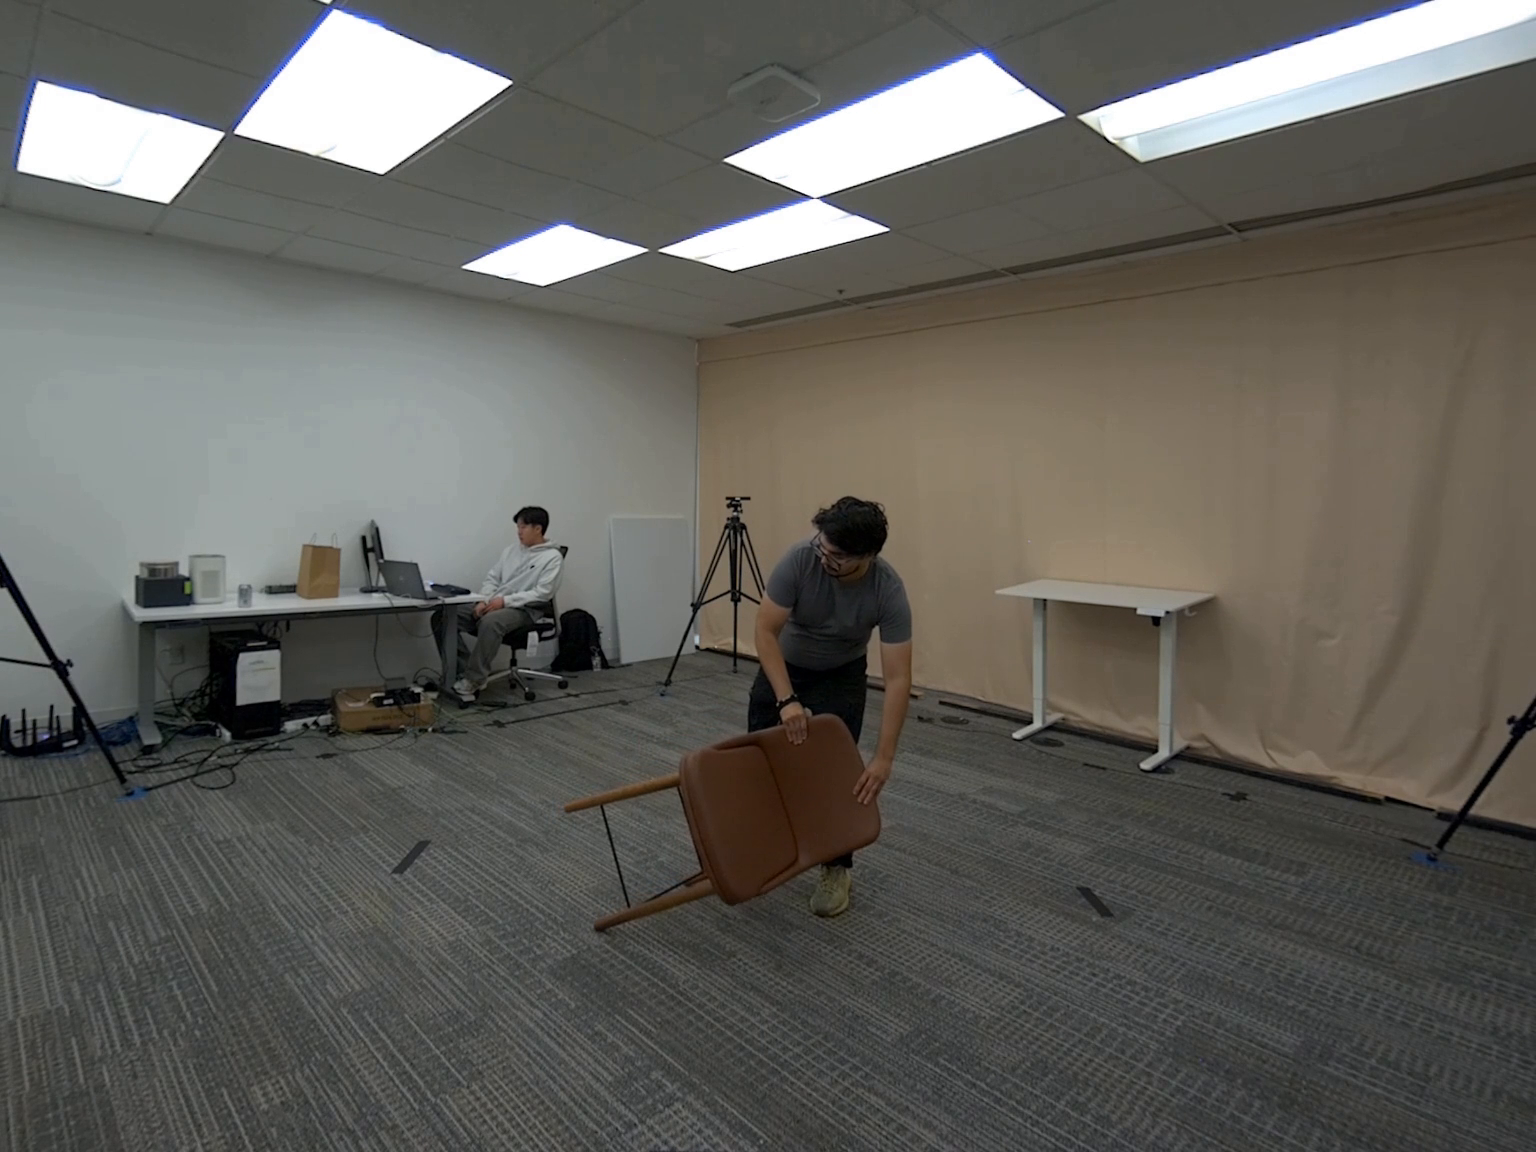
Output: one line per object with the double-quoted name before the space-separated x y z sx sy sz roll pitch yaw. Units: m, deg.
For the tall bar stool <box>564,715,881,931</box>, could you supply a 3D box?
"tall bar stool" -0.170 0.783 2.658 0.898 0.463 0.457 -27 -16 34
